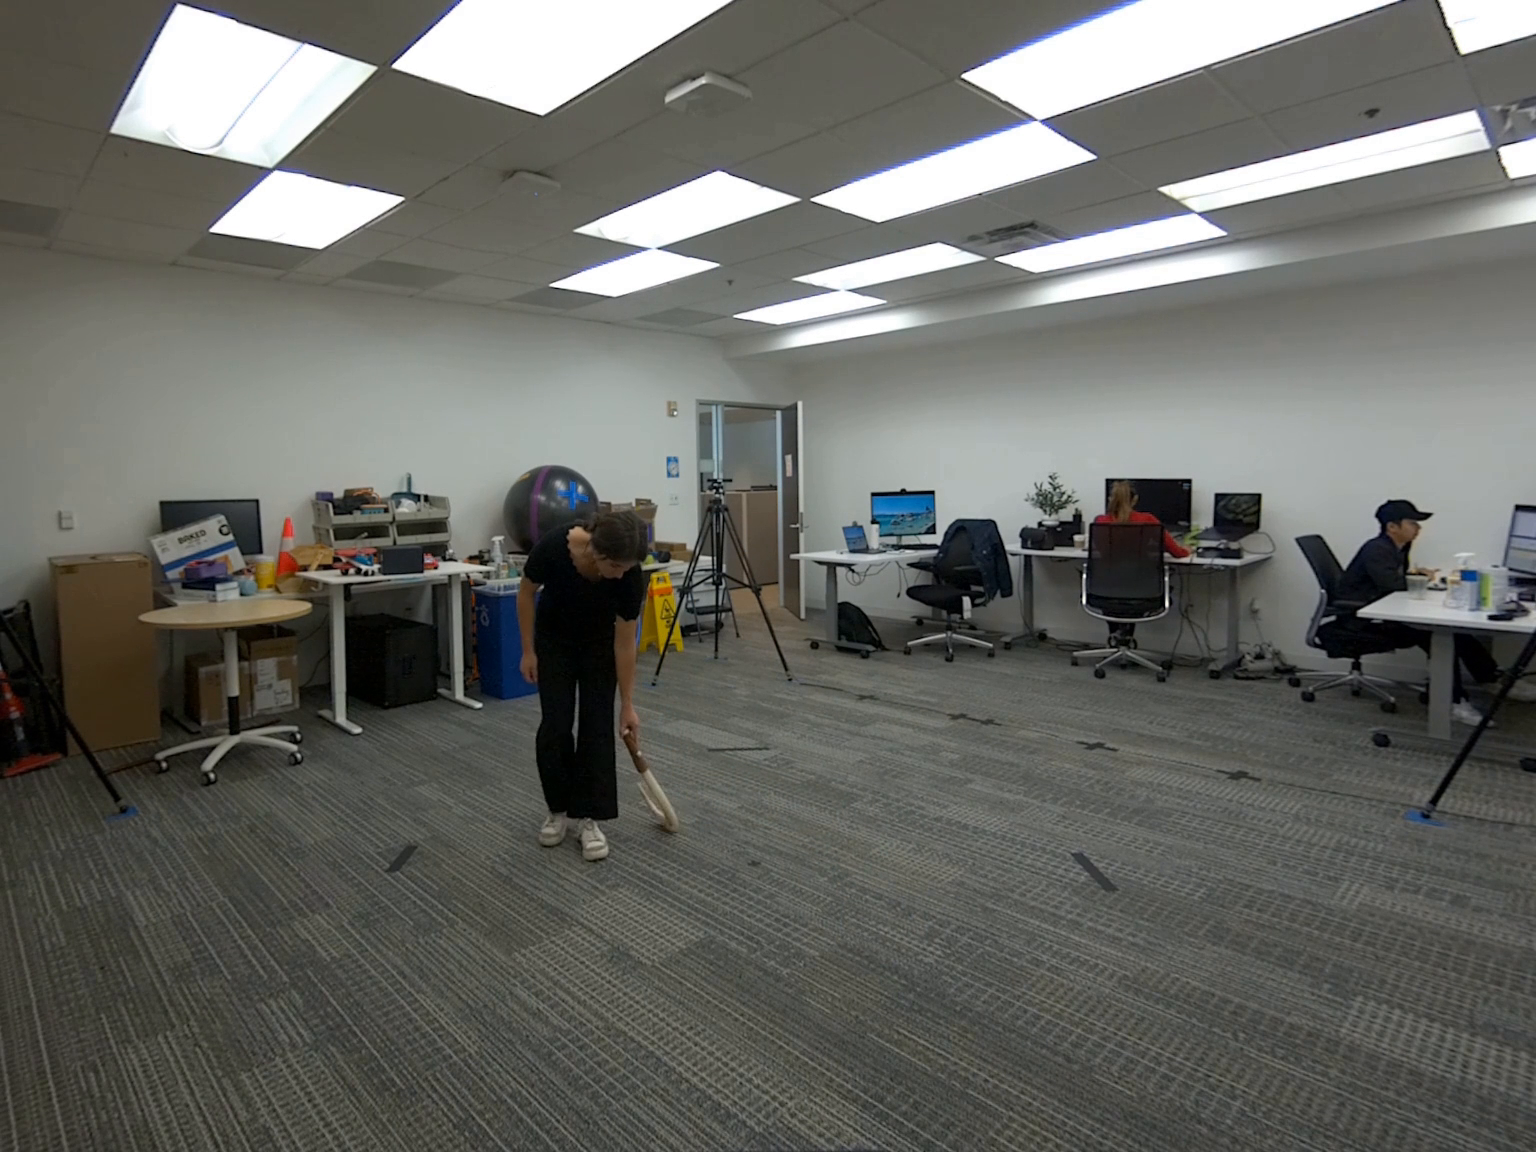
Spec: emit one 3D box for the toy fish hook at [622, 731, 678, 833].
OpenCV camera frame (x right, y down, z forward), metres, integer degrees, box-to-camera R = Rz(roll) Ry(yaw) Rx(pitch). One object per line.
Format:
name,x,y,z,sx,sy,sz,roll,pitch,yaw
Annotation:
toy fish hook,-0.488,0.793,3.369,0.048,0.497,0.231,-32,20,-33
